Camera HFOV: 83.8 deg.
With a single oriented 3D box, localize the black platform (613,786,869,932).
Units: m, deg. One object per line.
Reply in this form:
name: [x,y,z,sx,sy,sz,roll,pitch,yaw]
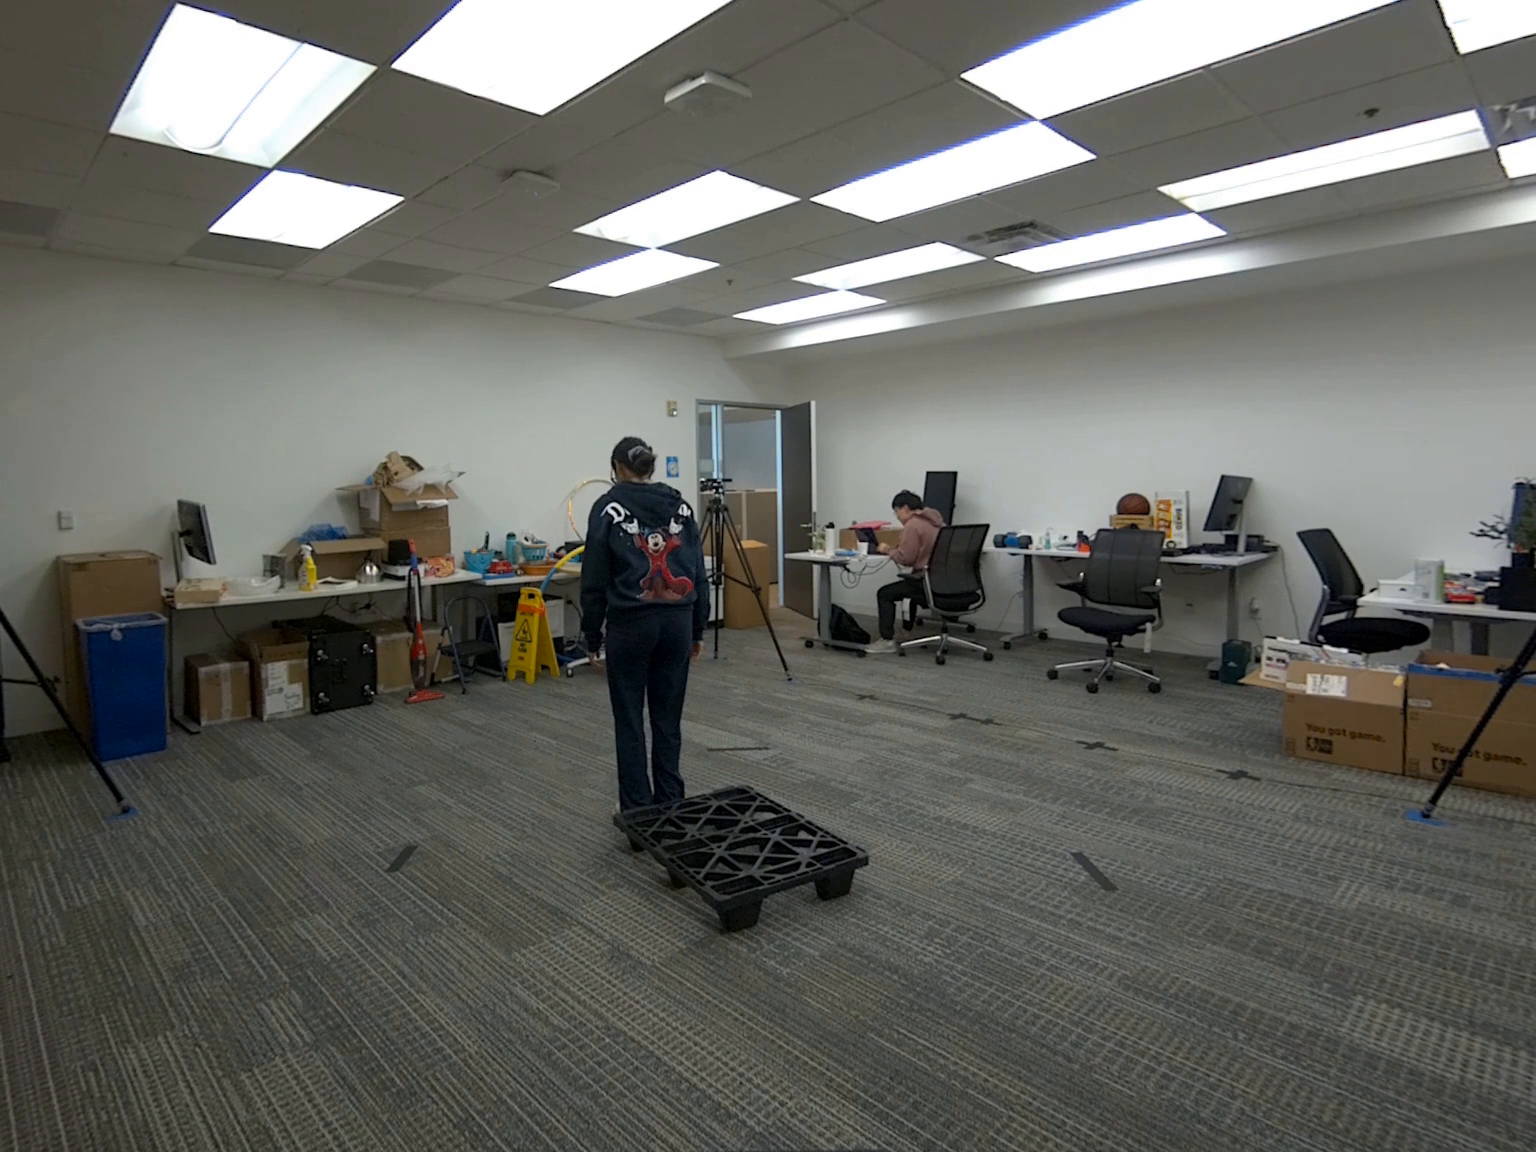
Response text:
black platform: [-0.120,0.986,3.048,0.591,0.142,0.829,-6,8,-32]
